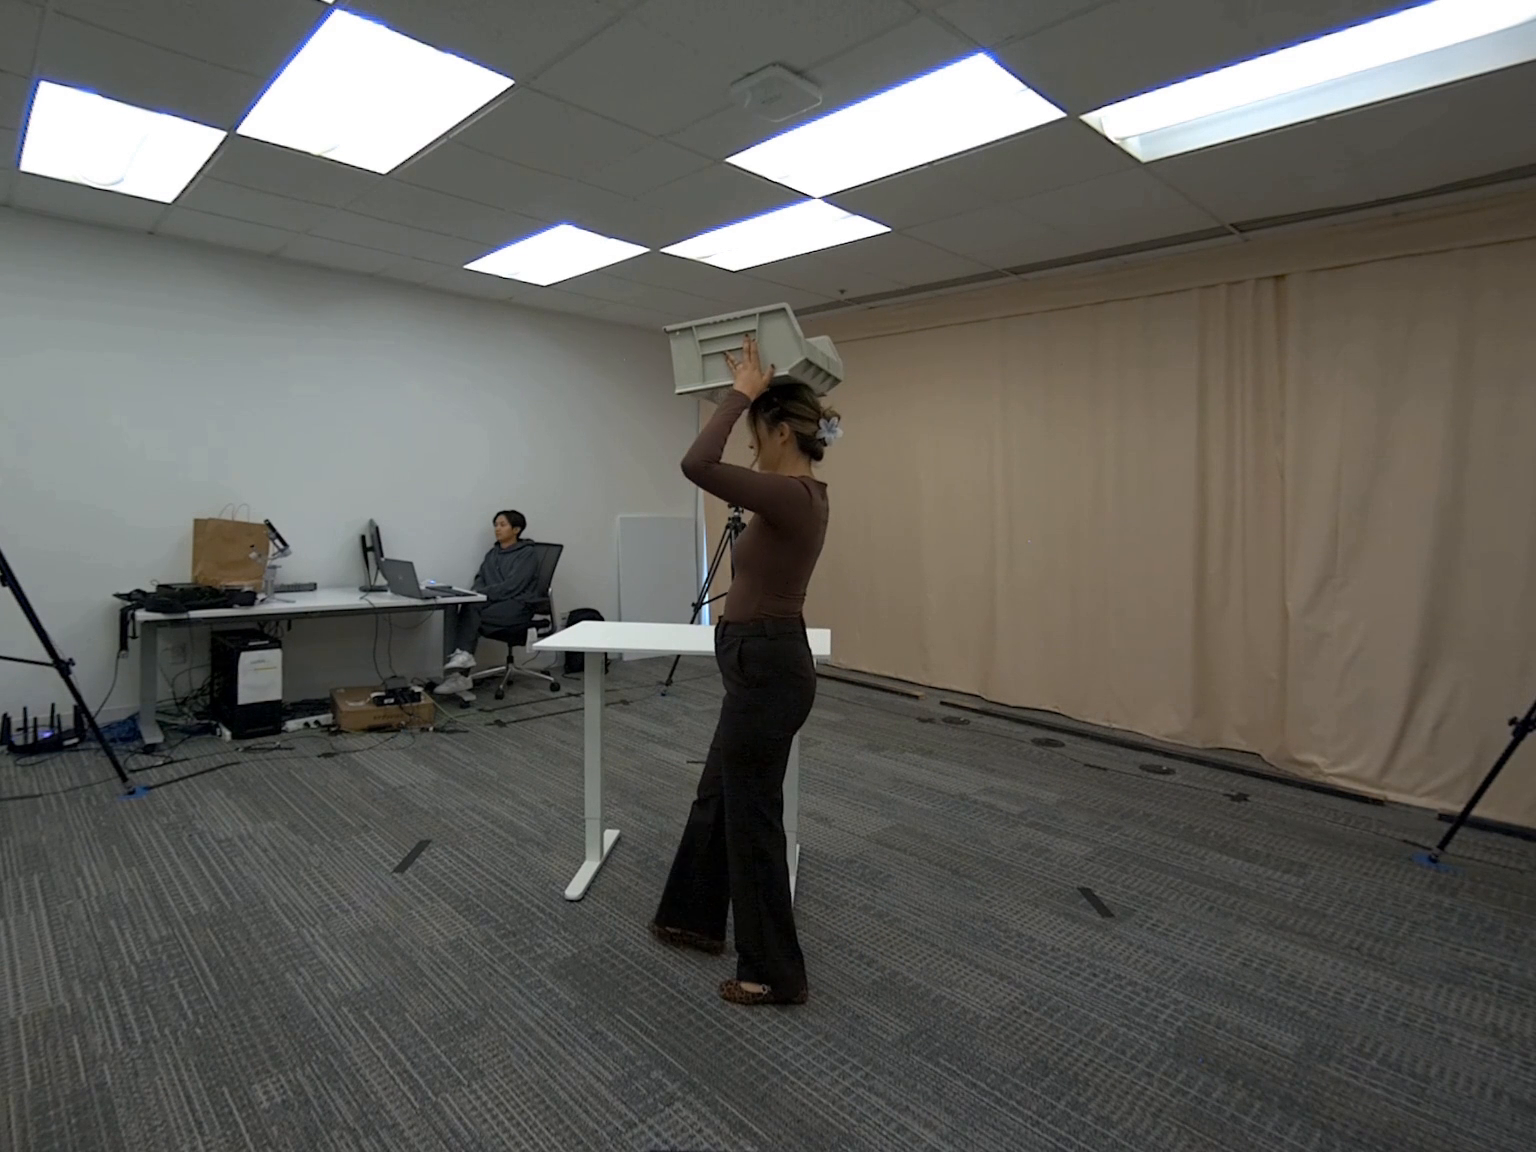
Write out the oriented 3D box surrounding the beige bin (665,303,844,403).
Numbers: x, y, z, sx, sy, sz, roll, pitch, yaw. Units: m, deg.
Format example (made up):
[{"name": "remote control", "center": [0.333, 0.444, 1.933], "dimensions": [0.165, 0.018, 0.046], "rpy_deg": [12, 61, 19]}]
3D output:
[{"name": "beige bin", "center": [-0.026, -0.598, 2.345], "dimensions": [0.382, 0.189, 0.417], "rpy_deg": [-7, 2, 18]}]
